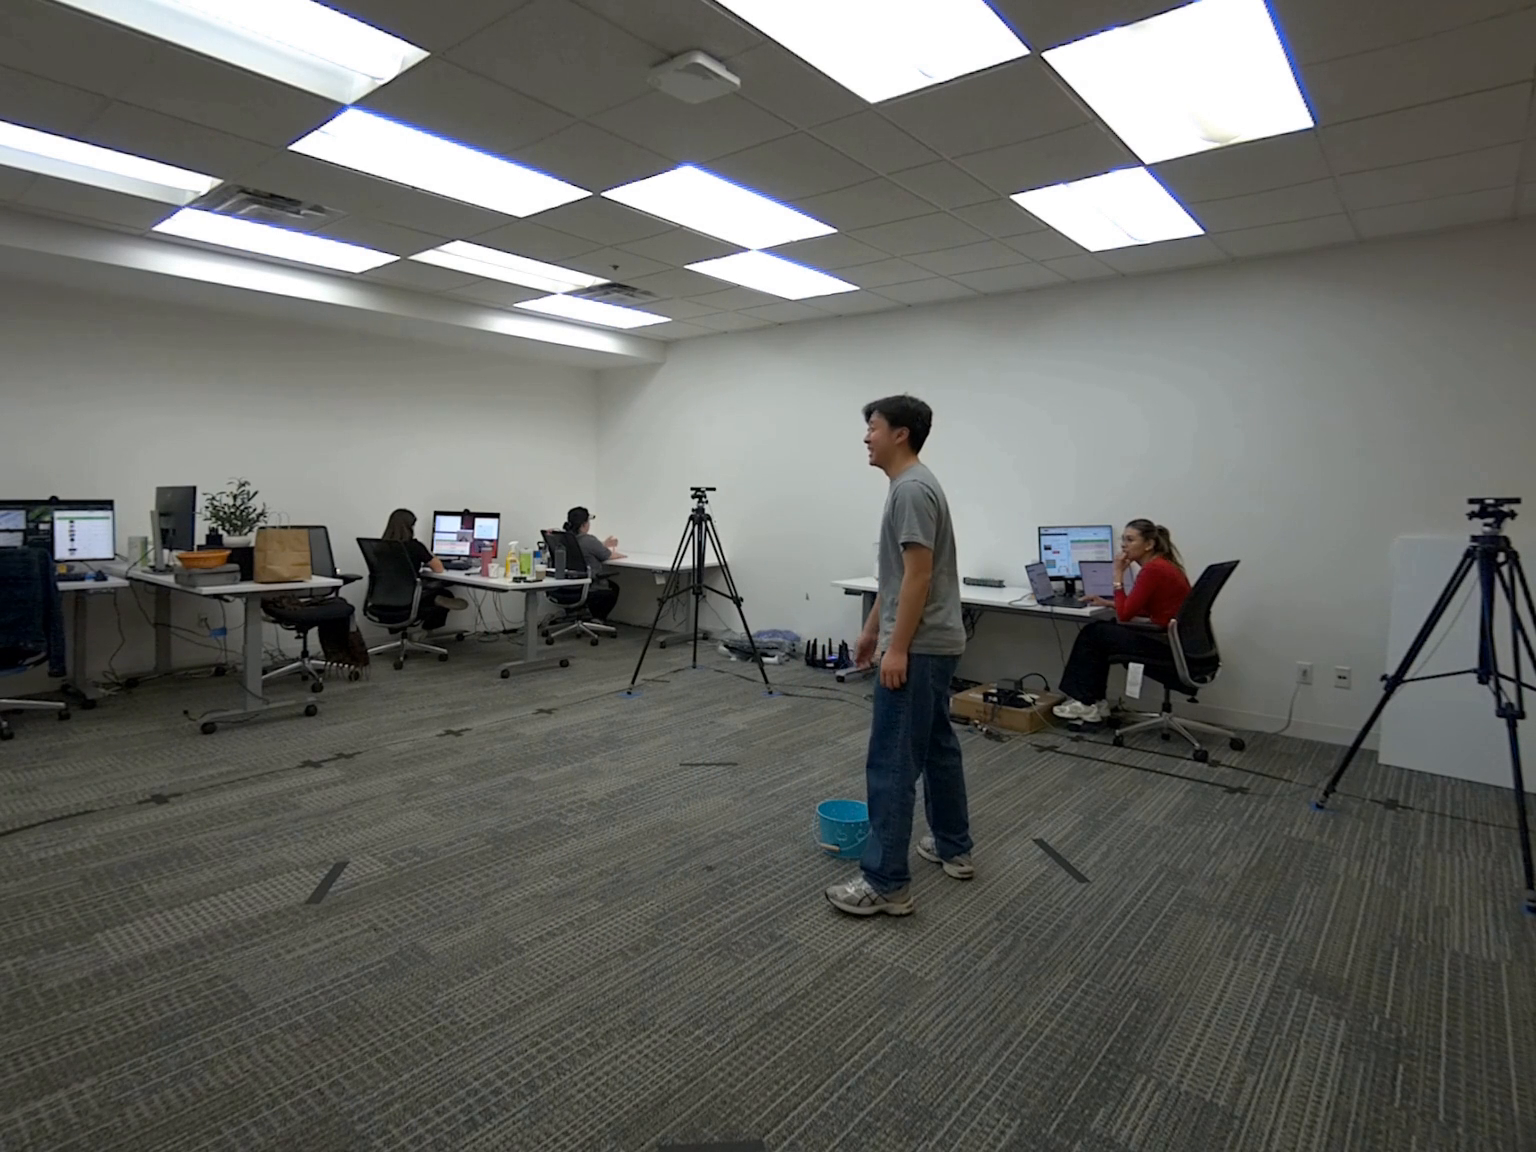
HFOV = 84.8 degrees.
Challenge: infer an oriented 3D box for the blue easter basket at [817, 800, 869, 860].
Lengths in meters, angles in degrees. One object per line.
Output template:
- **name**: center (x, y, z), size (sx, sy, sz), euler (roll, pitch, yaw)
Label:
- **blue easter basket**: center (0.290, 0.980, 3.307), size (0.243, 0.155, 0.245), euler (1, 4, -2)
